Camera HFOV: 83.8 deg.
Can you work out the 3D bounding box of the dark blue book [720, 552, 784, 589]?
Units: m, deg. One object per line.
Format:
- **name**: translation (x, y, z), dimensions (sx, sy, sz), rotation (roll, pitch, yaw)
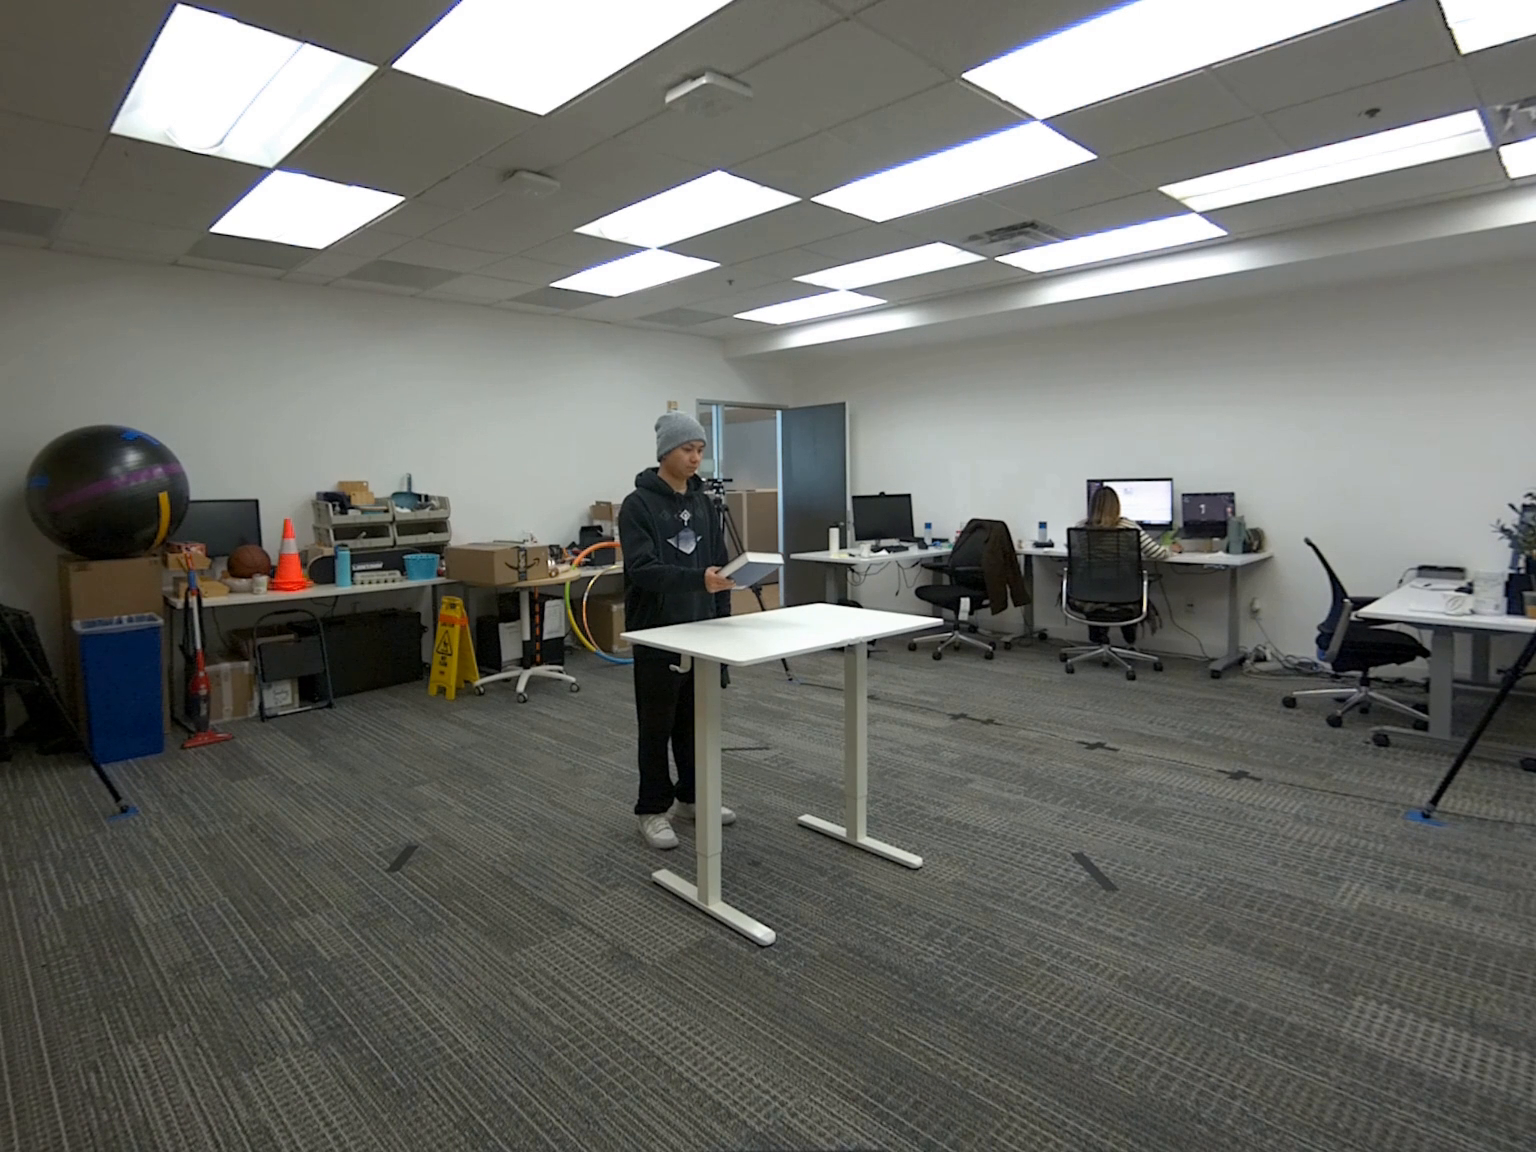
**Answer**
- **dark blue book**: translation (-0.077, -0.016, 2.976), dimensions (0.158, 0.046, 0.247), rotation (3, -24, -41)
